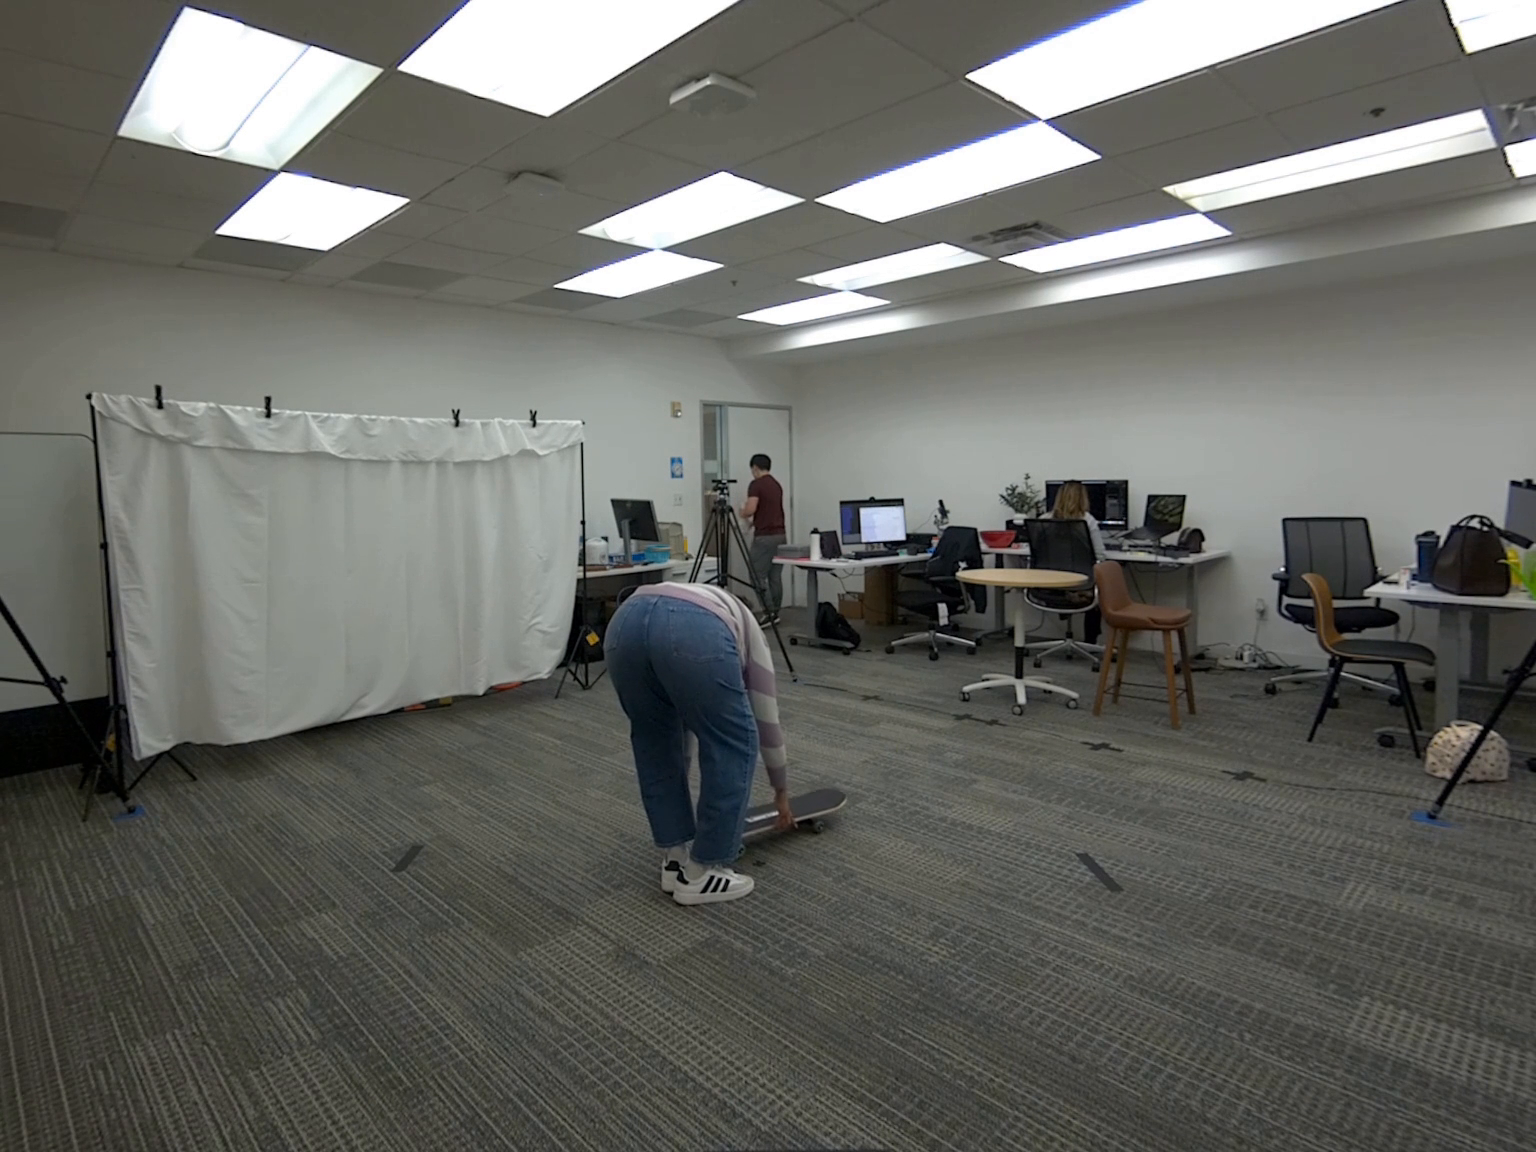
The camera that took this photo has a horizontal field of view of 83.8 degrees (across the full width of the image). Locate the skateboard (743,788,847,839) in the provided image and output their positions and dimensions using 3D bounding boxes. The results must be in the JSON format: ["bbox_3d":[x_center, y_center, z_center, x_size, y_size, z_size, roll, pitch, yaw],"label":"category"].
[{"bbox_3d":[-0.003,0.959,3.323,0.765,0.110,0.199,-5,7,-37],"label":"skateboard"}]
